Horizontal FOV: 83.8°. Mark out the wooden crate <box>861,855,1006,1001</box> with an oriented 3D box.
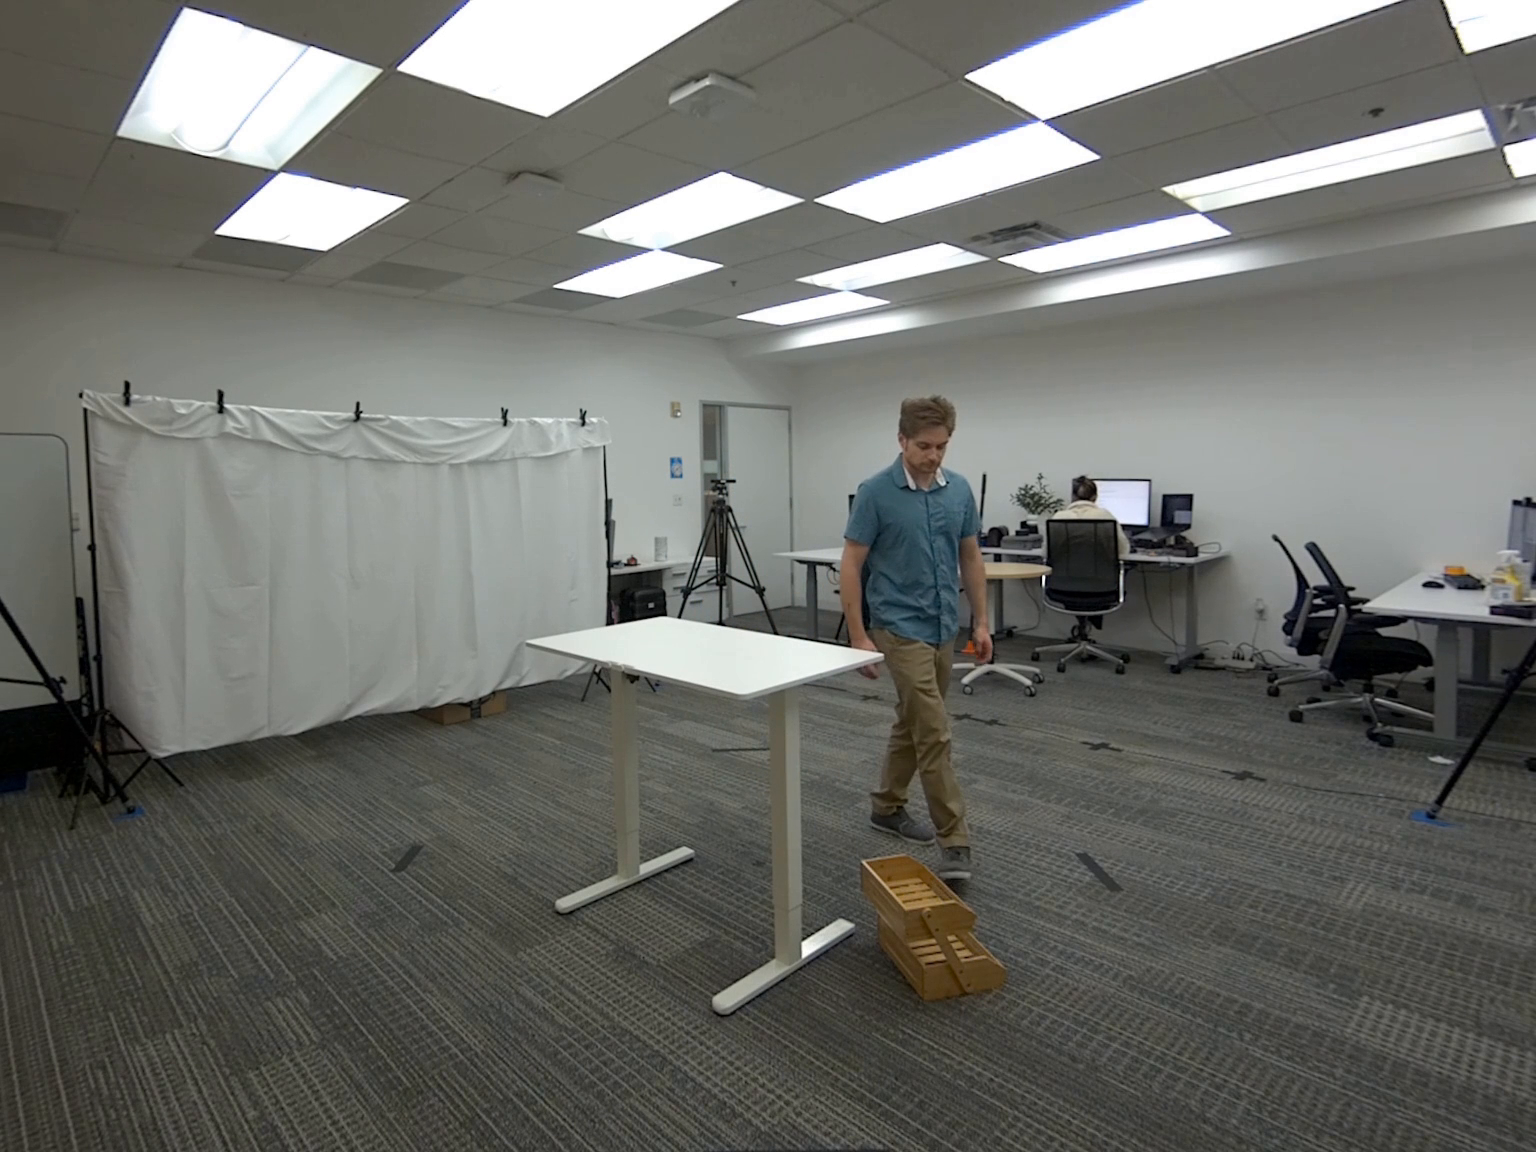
[{"bbox_3d":[0.474,0.979,2.436,0.298,0.272,0.330,-3,5,-16],"label":"wooden crate"}]
